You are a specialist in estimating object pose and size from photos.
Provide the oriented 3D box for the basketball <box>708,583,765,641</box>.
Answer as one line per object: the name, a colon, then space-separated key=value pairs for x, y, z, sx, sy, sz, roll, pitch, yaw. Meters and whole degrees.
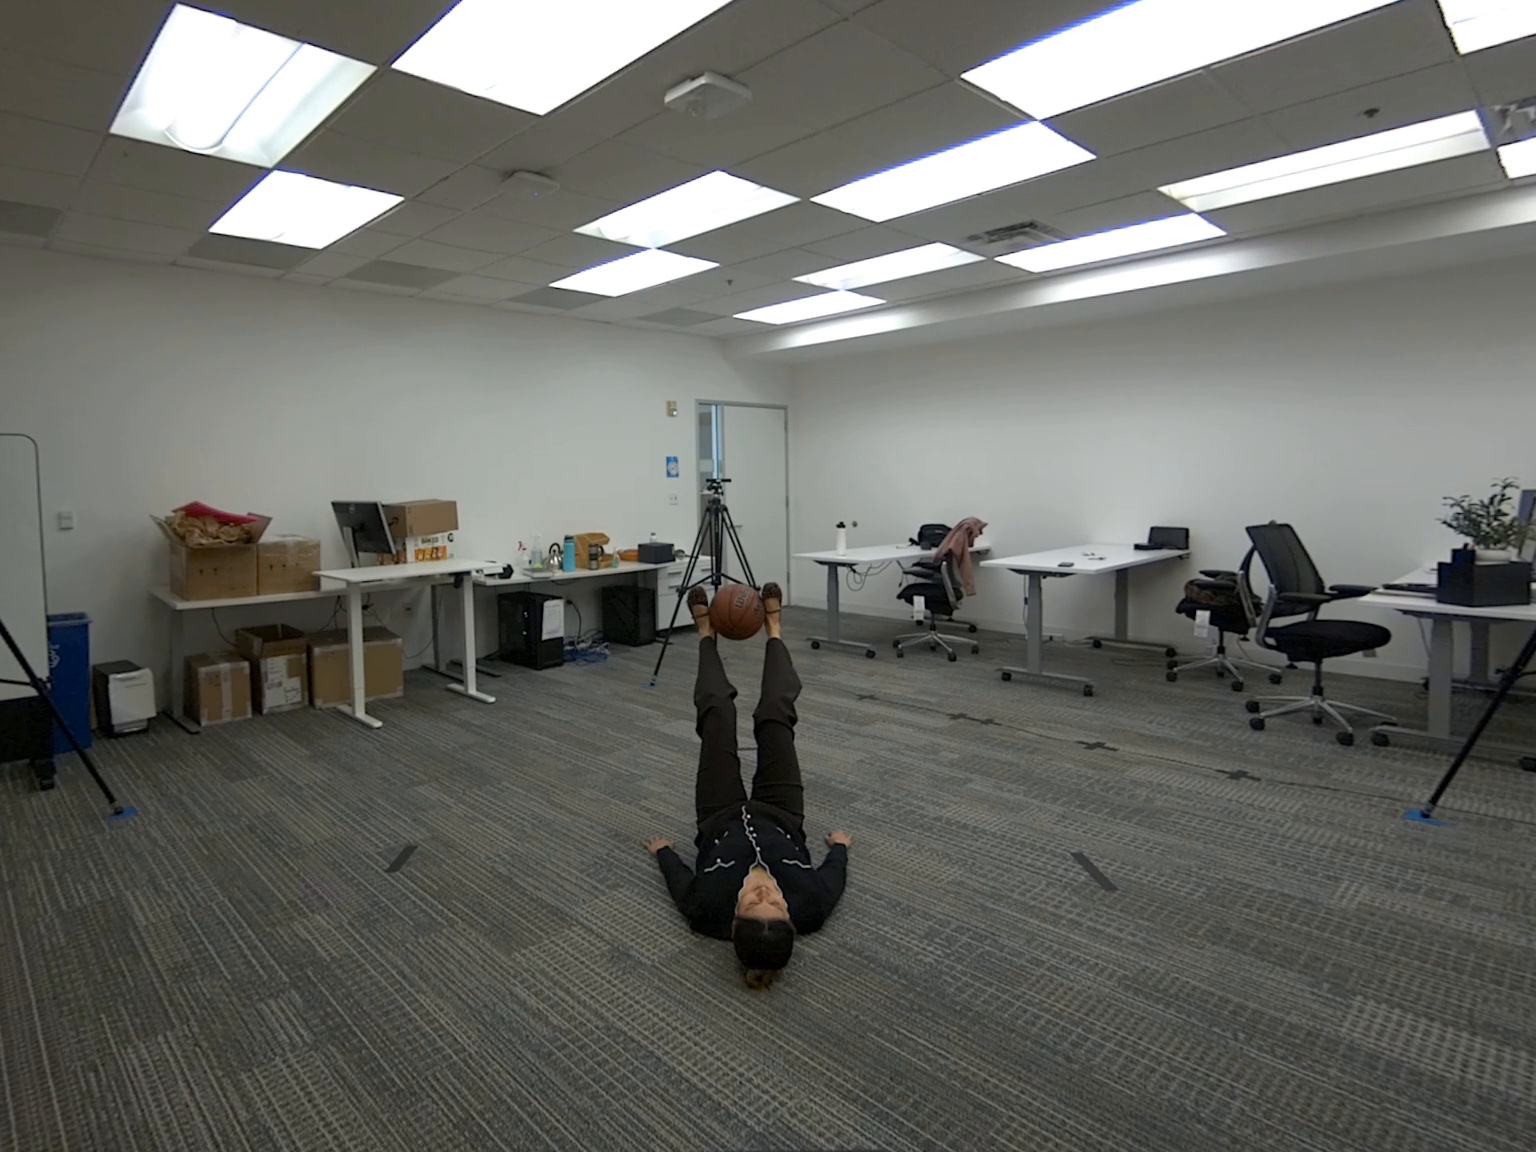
basketball: x=-0.121 y=0.146 z=3.557 sx=0.236 sy=0.235 sz=0.237 roll=-4 pitch=4 yaw=-1
